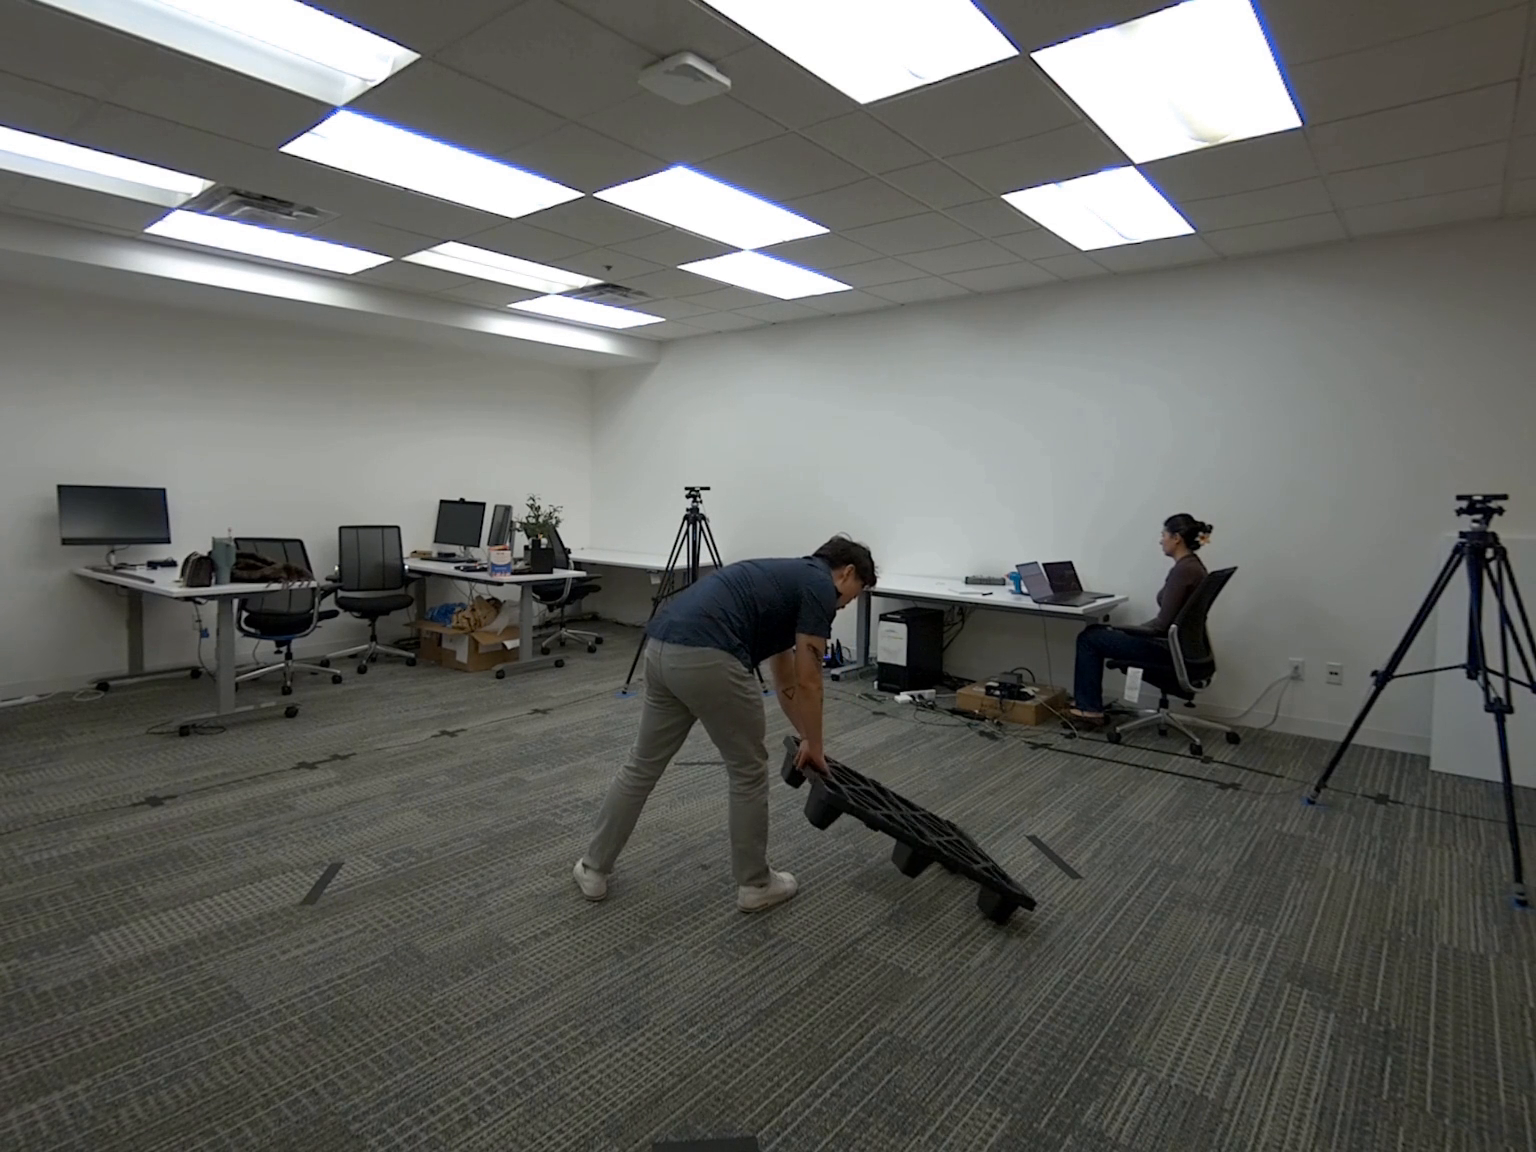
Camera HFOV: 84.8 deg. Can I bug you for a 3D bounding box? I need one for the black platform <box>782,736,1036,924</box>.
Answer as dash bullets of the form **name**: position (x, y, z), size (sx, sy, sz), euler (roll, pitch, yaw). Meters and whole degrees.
- **black platform**: position (0.413, 0.853, 2.934), size (0.796, 0.143, 0.613), euler (31, -1, -10)
